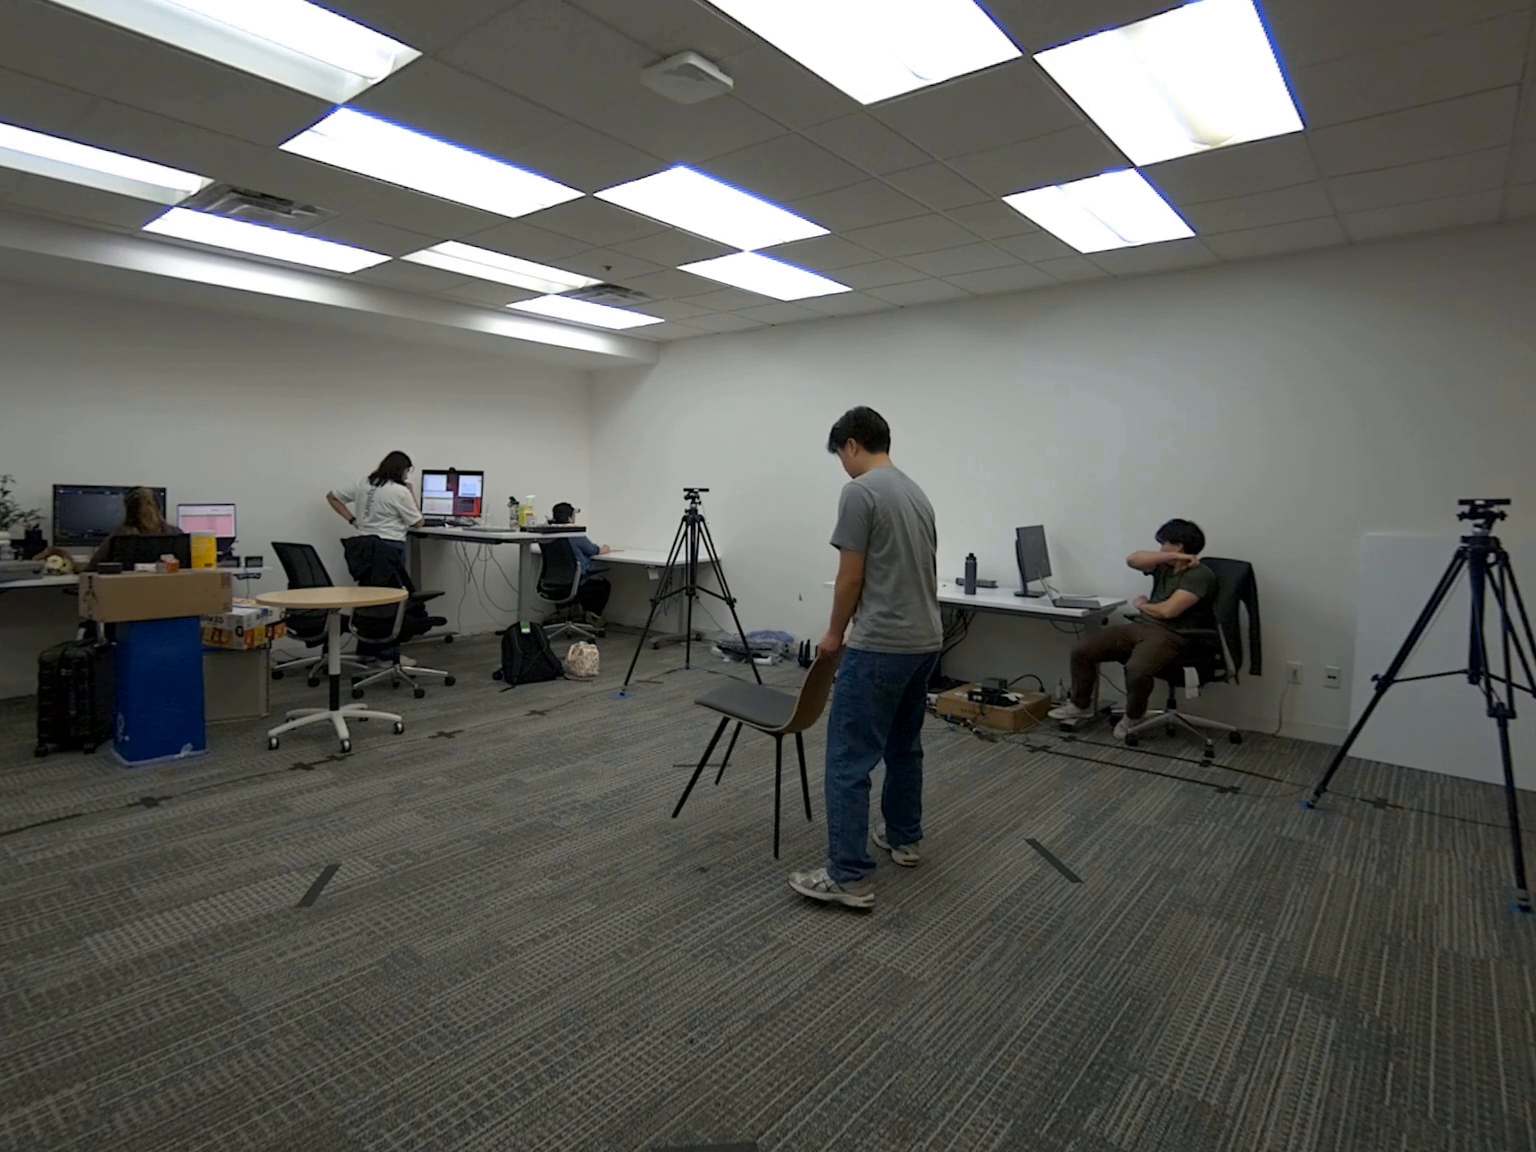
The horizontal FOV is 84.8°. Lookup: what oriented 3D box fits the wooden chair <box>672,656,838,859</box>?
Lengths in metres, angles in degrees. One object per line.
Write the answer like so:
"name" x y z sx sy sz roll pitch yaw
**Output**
"wooden chair" -0.030 0.581 3.439 0.537 0.872 0.469 19 10 20
